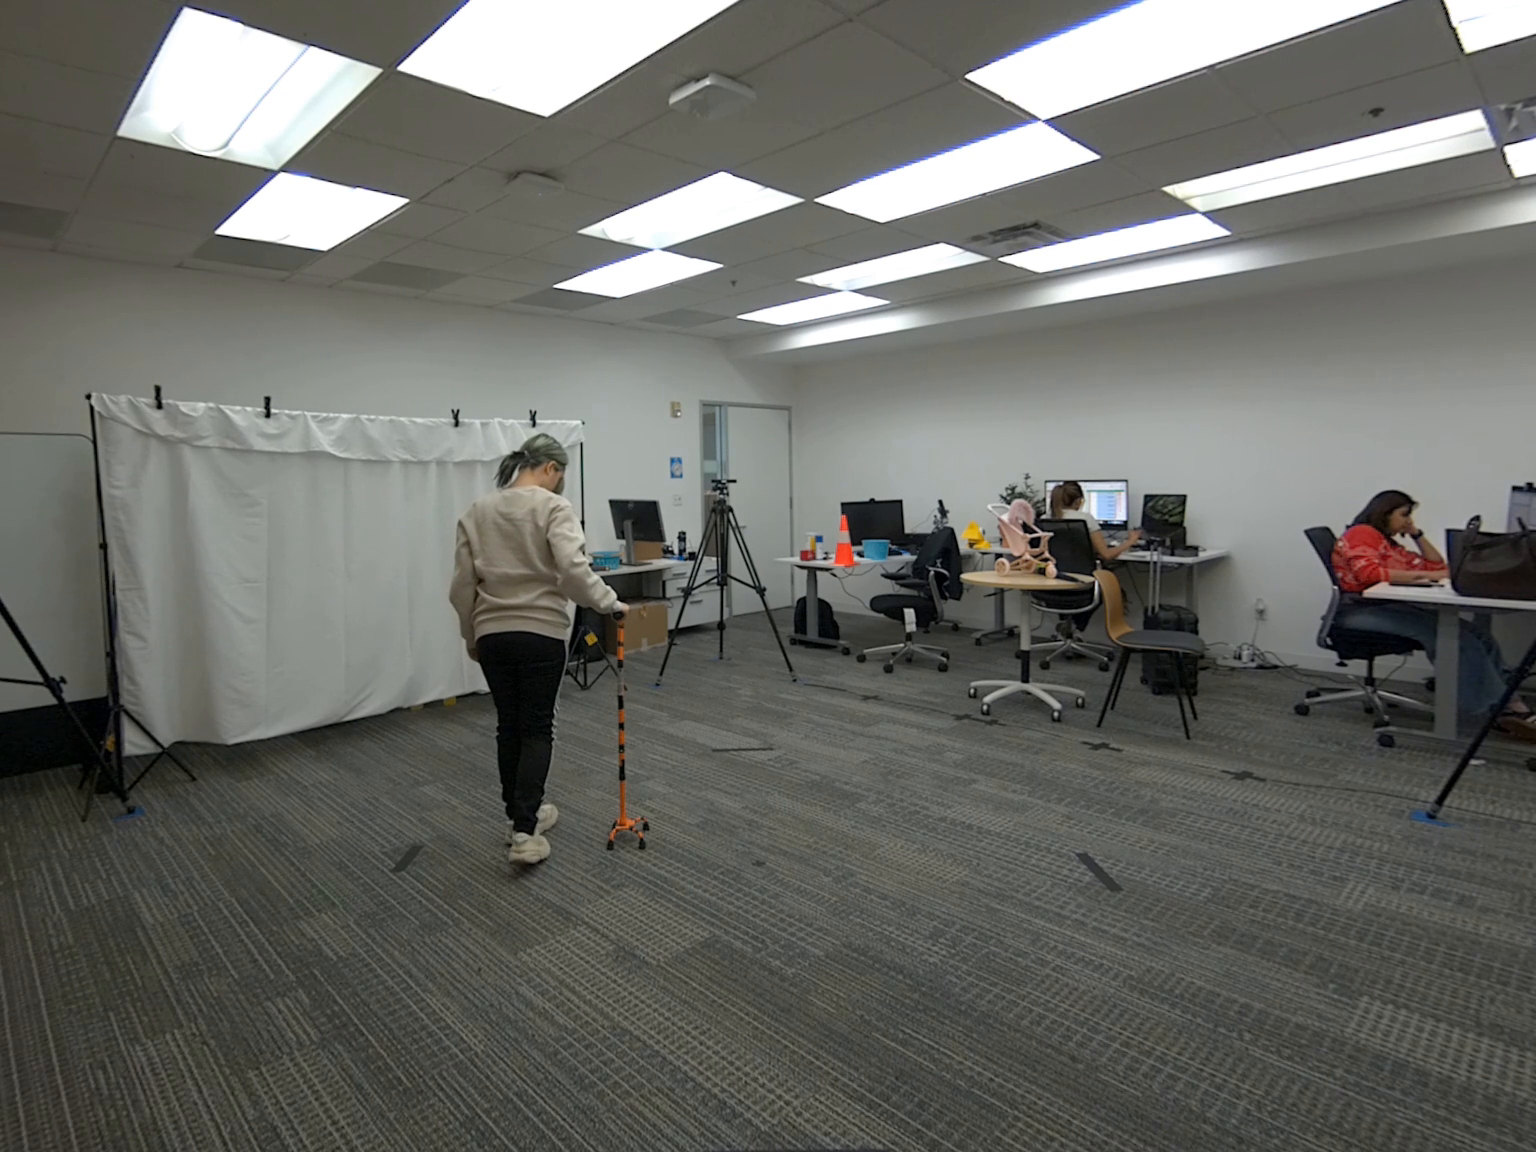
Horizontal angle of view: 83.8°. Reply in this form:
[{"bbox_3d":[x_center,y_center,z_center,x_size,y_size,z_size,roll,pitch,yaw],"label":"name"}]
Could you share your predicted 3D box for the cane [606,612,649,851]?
[{"bbox_3d":[-0.549,0.577,3.314,0.151,0.905,0.208,-1,3,-5],"label":"cane"}]
